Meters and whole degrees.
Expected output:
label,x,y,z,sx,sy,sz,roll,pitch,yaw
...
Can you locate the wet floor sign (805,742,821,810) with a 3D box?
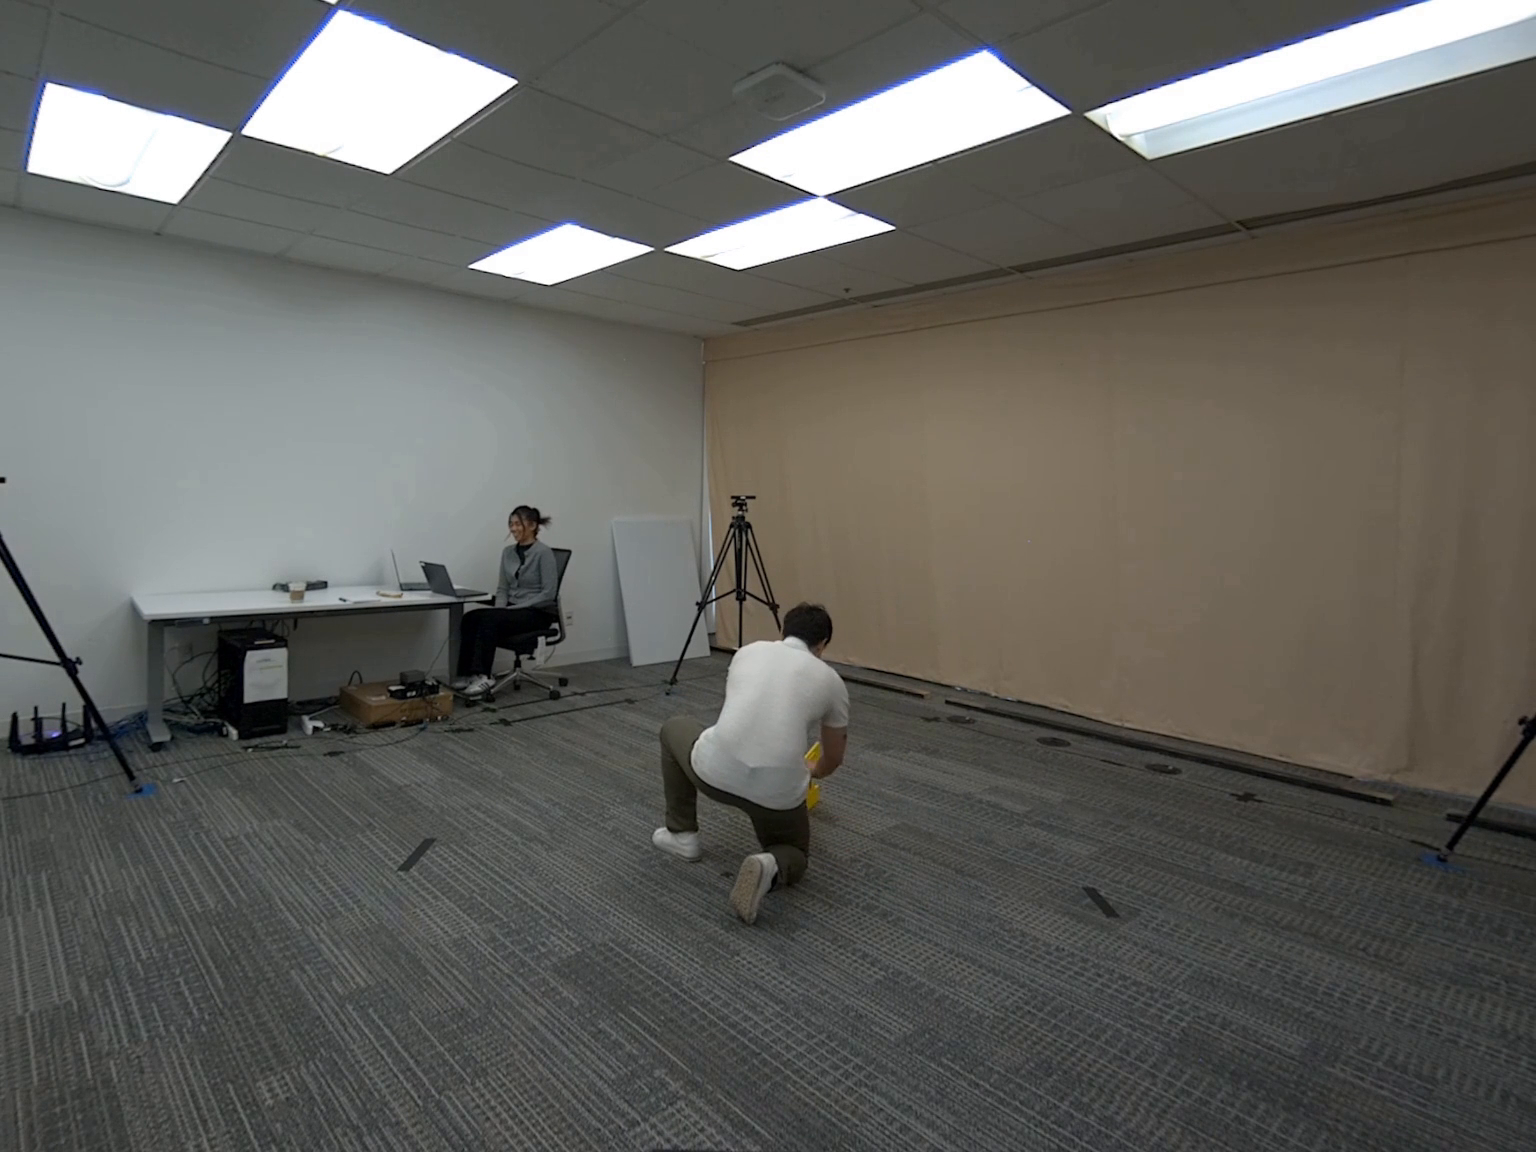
label,x,y,z,sx,sy,sz,roll,pitch,yaw
wet floor sign,0.042,0.939,3.613,0.292,0.281,0.645,2,8,7
